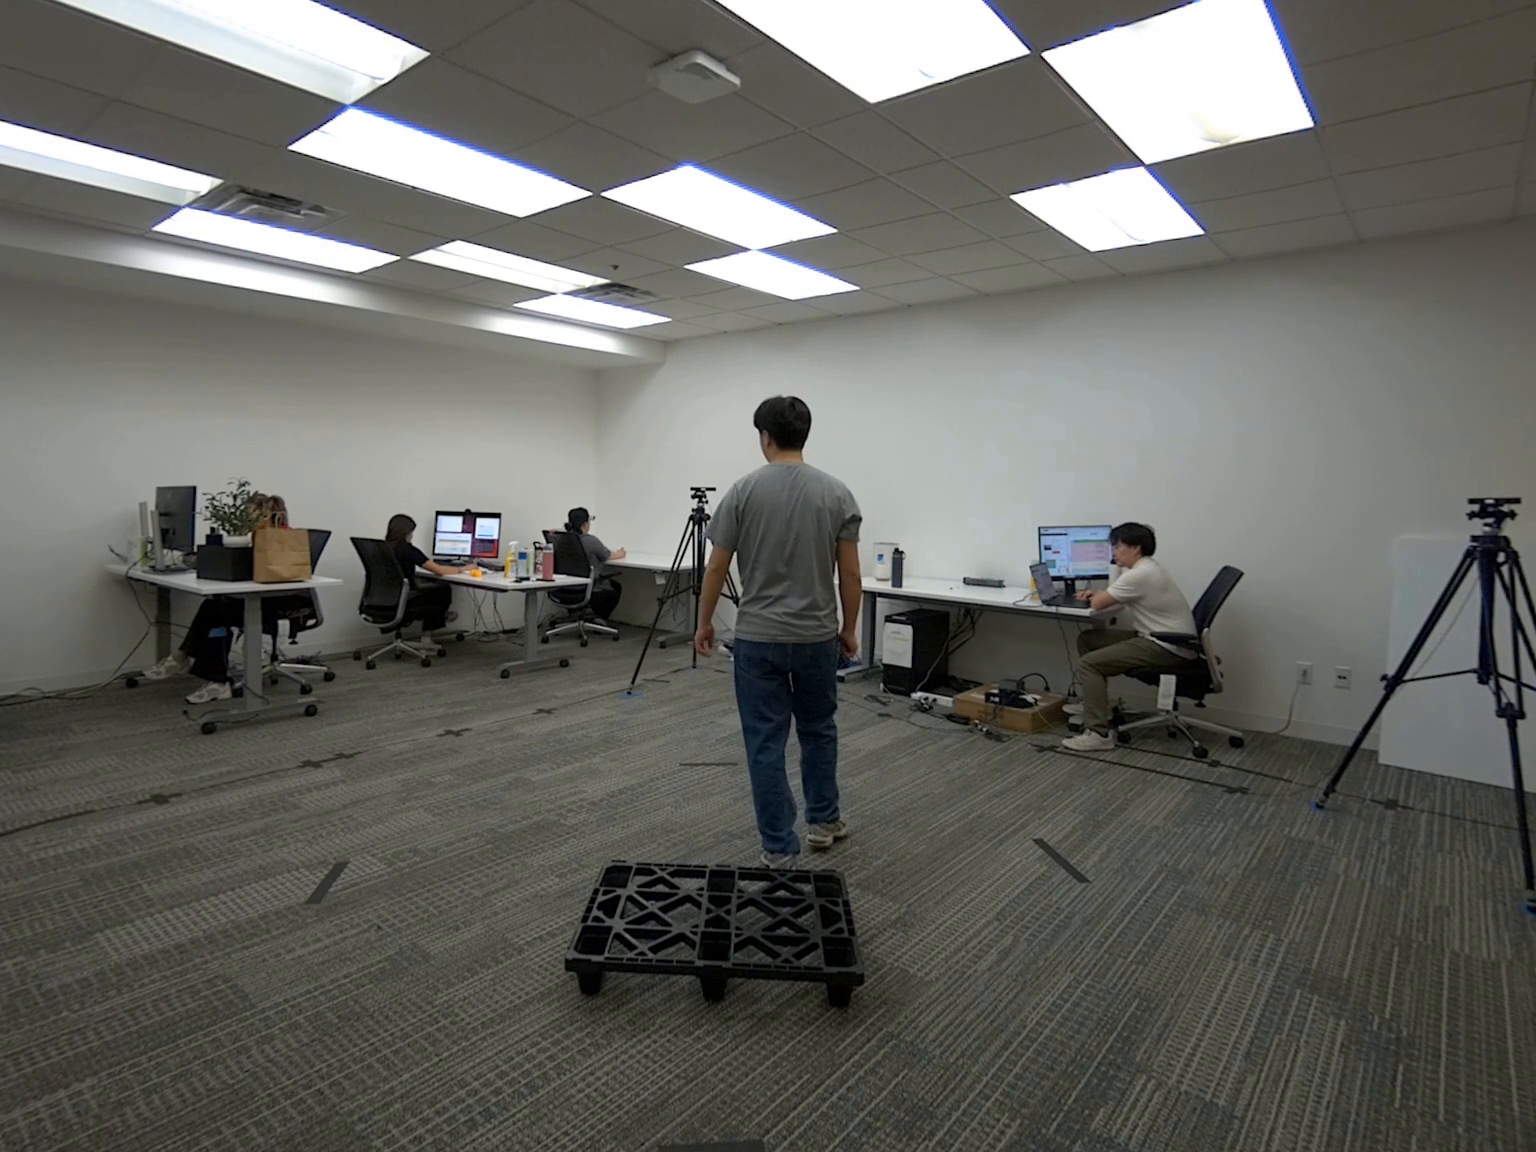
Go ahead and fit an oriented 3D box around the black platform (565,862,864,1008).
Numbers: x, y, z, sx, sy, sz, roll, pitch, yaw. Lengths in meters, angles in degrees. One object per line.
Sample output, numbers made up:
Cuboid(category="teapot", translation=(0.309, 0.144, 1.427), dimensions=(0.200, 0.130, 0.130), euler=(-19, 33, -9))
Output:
Cuboid(category="black platform", translation=(-0.160, 1.053, 2.538), dimensions=(0.808, 0.143, 0.606), euler=(2, 5, 2))
